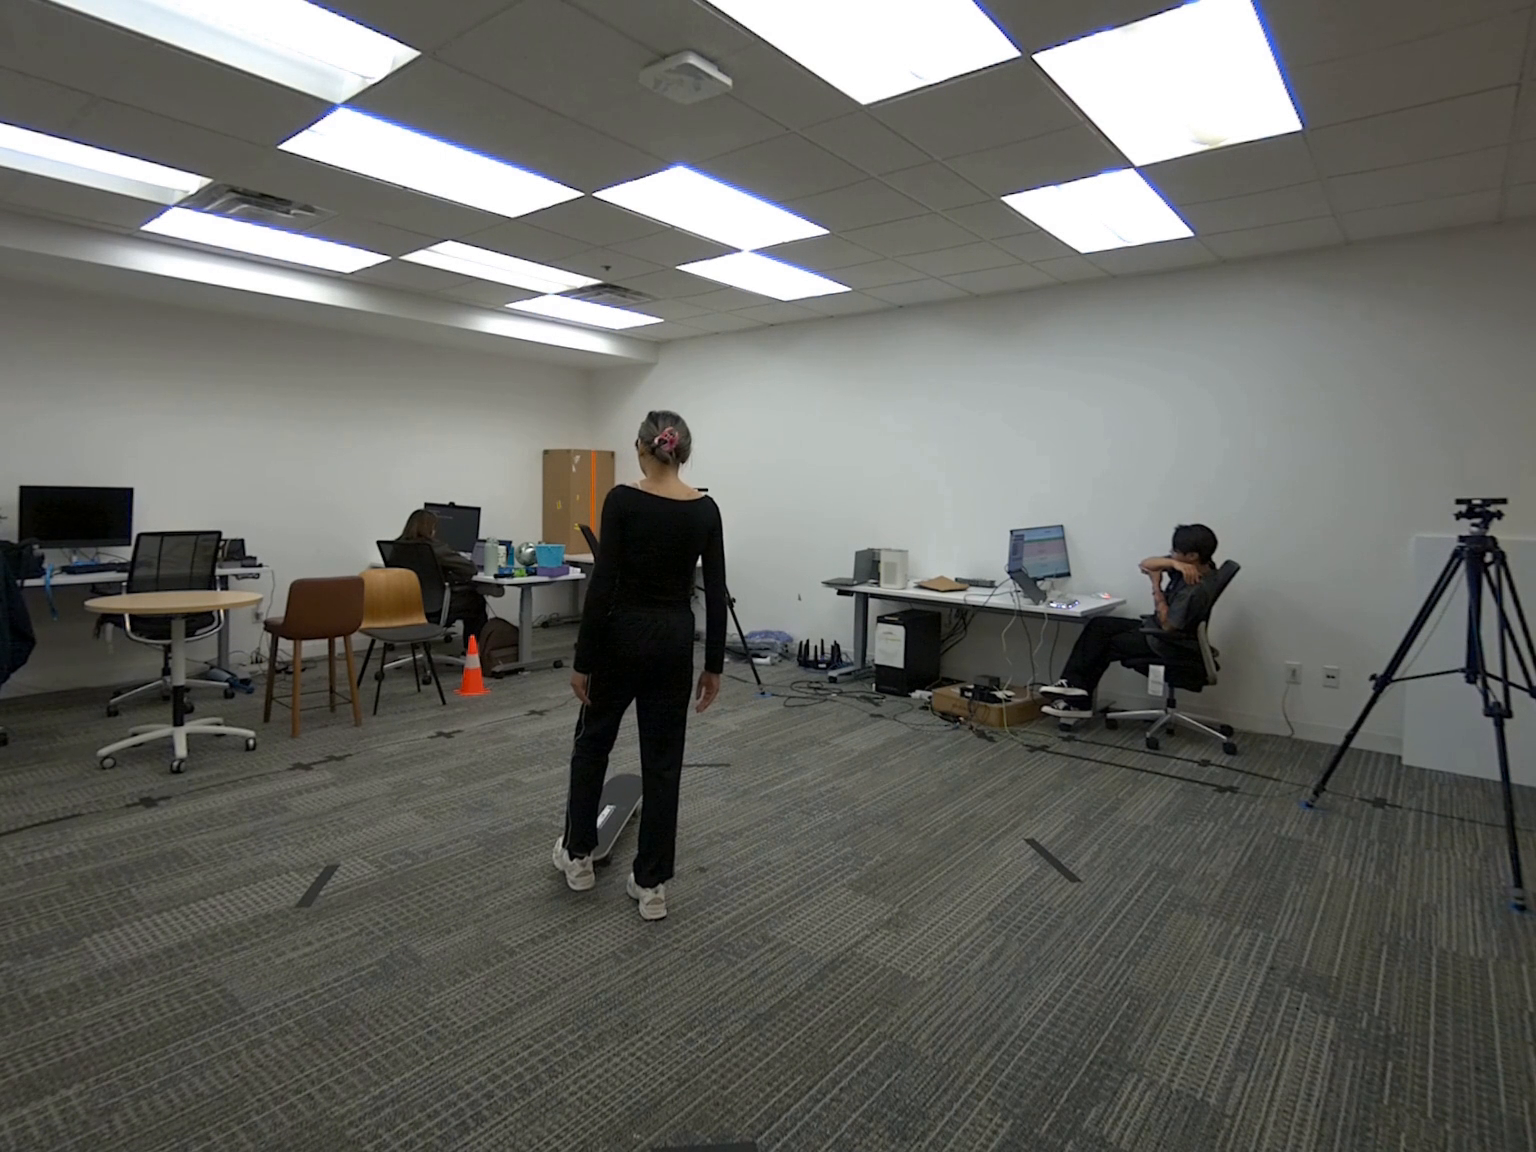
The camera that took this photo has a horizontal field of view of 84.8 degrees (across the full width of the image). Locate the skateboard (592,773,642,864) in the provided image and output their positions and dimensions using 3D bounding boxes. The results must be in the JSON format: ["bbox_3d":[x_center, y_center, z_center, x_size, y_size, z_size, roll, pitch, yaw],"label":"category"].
[{"bbox_3d":[-0.658,0.973,3.346,0.195,0.109,0.784,3,9,6],"label":"skateboard"}]
